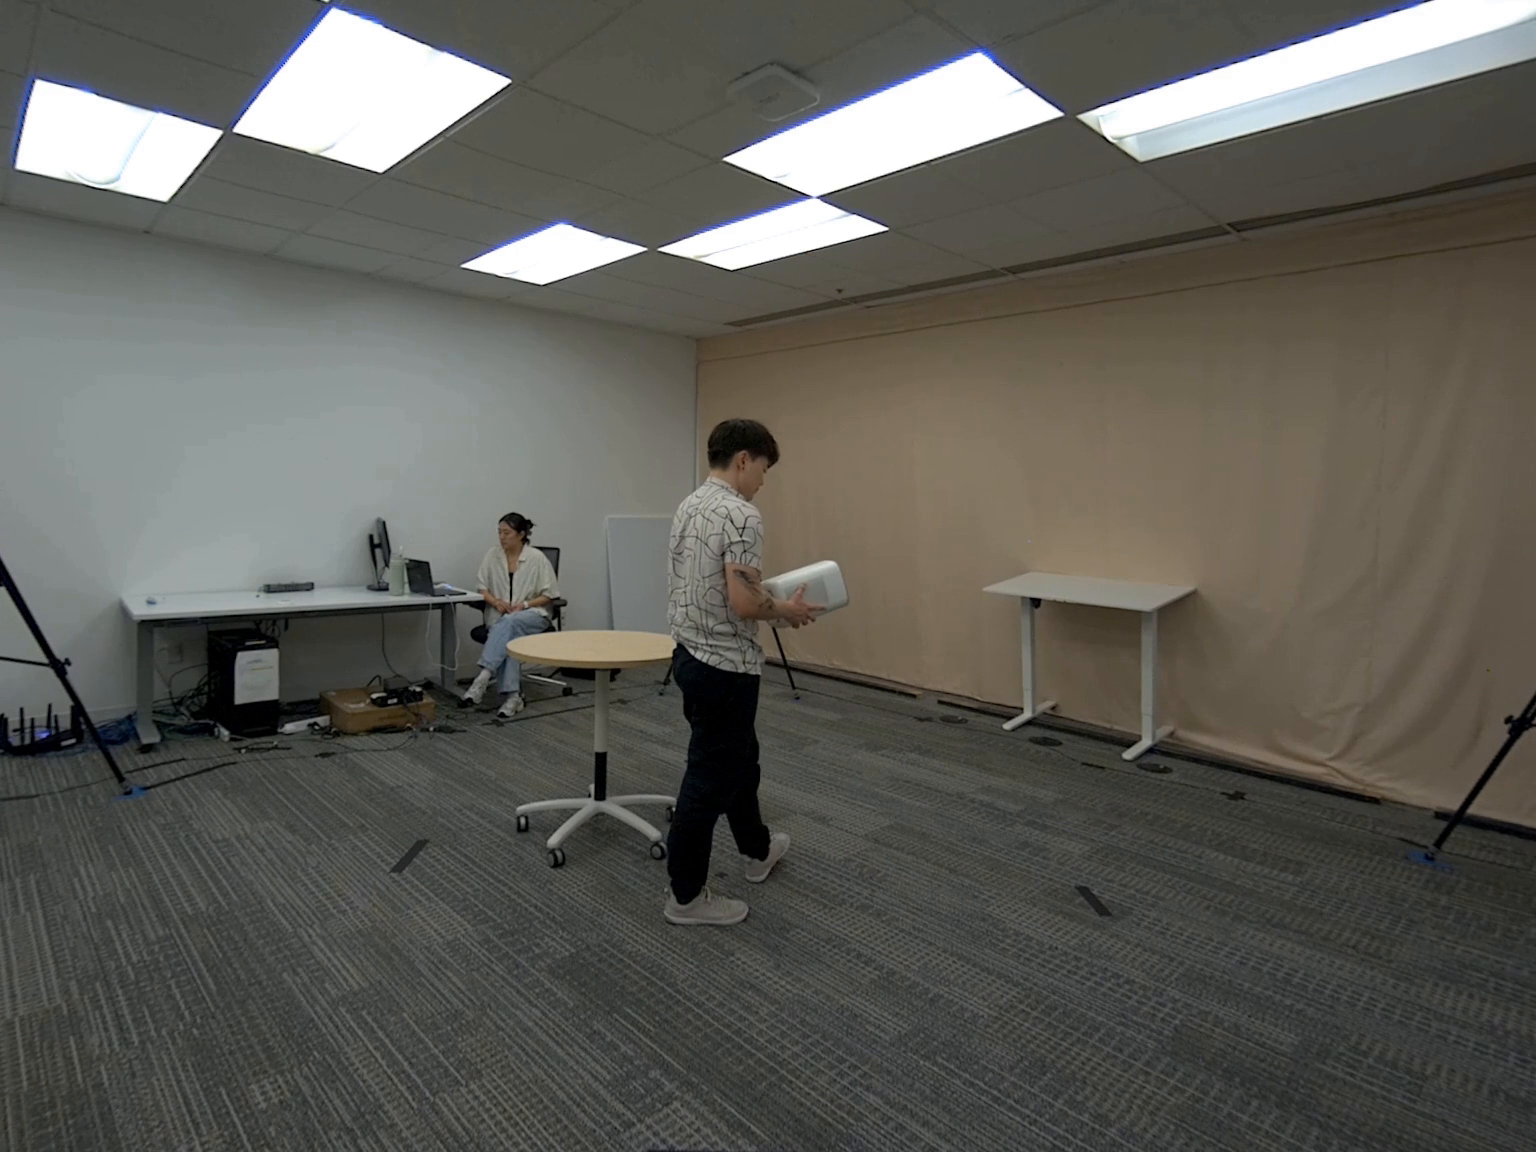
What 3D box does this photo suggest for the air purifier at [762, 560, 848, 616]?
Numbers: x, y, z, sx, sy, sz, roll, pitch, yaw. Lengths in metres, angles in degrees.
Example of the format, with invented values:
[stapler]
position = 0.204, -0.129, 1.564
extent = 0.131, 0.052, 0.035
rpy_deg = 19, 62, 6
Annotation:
[air purifier]
position = 0.114, 0.057, 2.919
extent = 0.262, 0.171, 0.174
rpy_deg = -19, 7, -24
